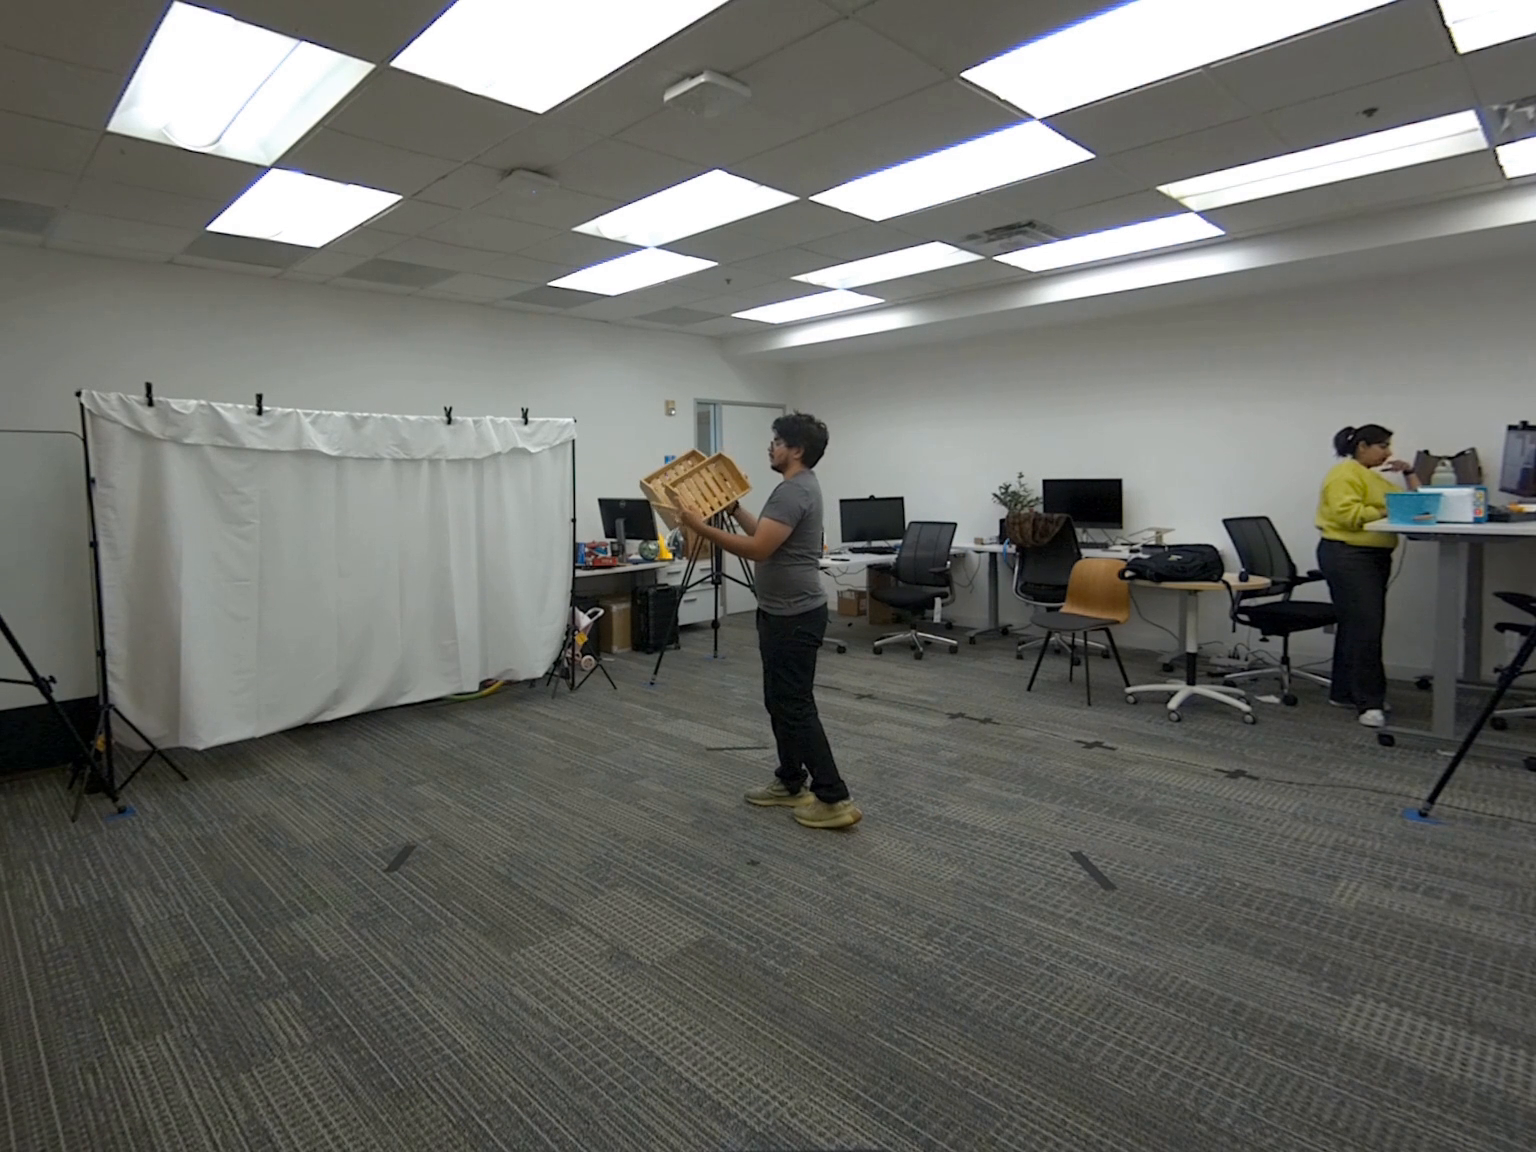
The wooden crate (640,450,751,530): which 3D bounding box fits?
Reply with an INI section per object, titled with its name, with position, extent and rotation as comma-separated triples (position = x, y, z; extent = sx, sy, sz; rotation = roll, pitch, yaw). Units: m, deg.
[wooden crate]
position = -0.305, -0.380, 3.566
extent = 0.322, 0.302, 0.275
rotation = -35, 2, -28
